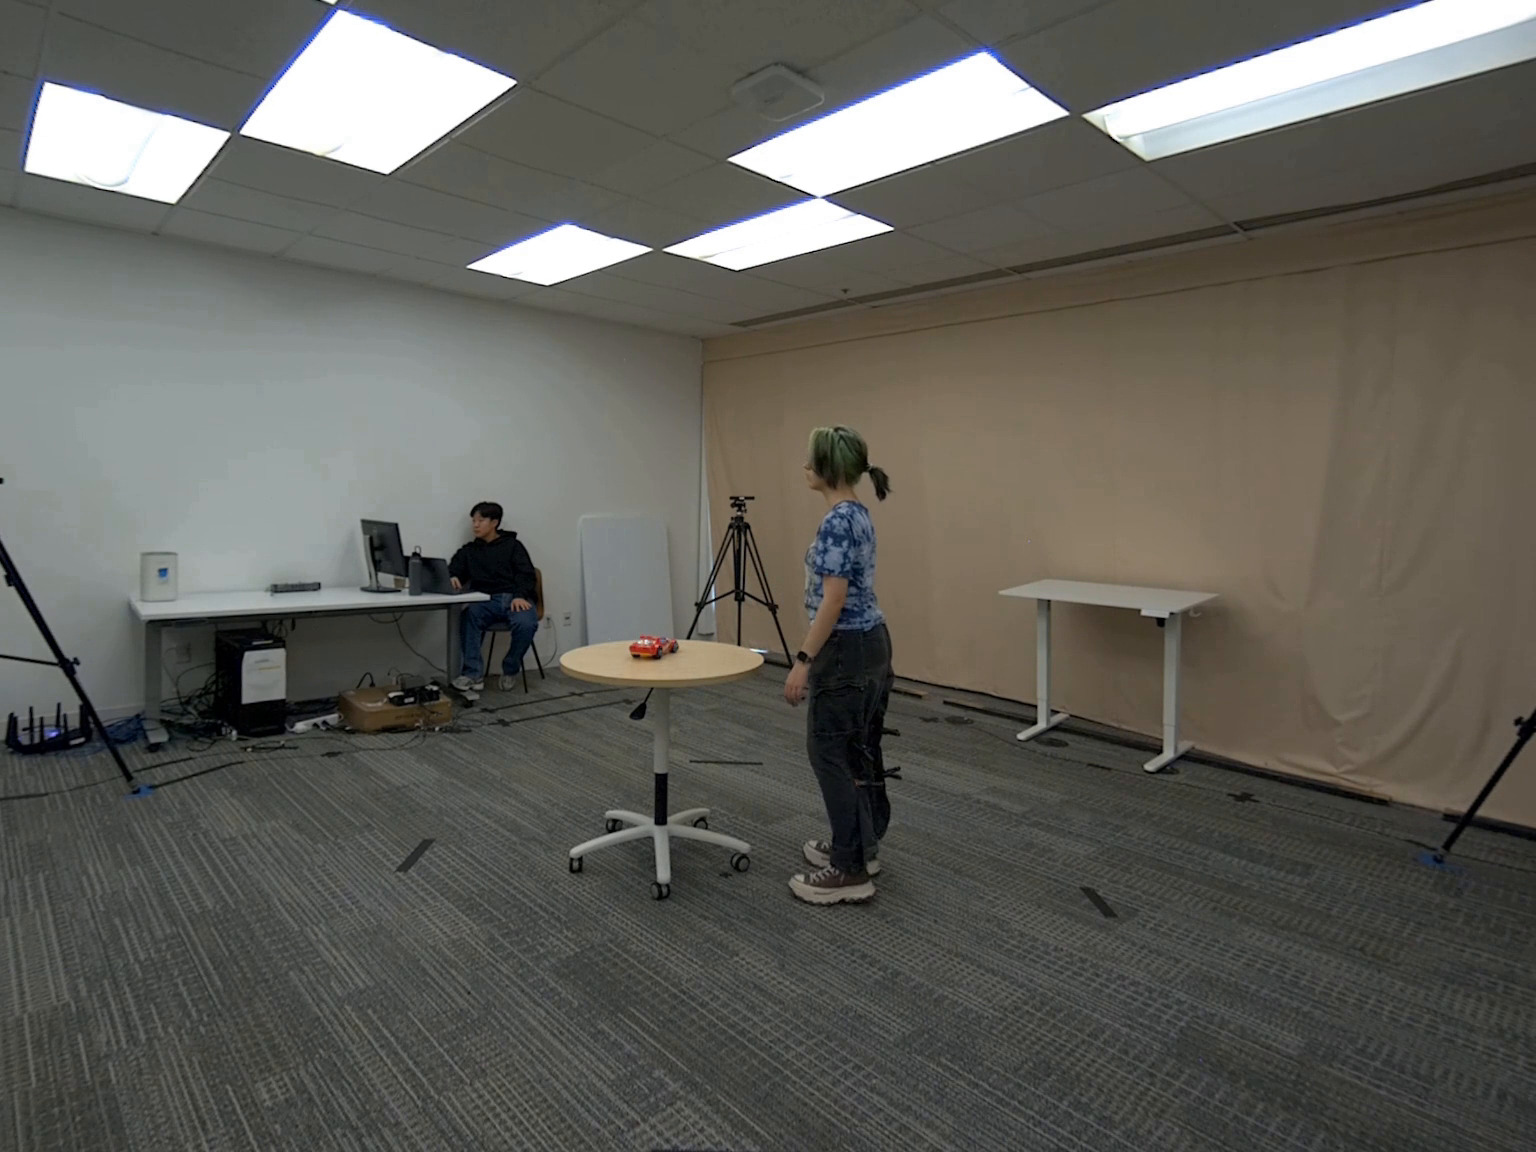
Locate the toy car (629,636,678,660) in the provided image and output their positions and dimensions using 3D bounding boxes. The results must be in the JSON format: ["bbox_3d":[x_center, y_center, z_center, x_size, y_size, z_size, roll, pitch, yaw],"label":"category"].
[{"bbox_3d":[-0.442,0.272,3.204,0.132,0.083,0.249,3,-5,19],"label":"toy car"}]
